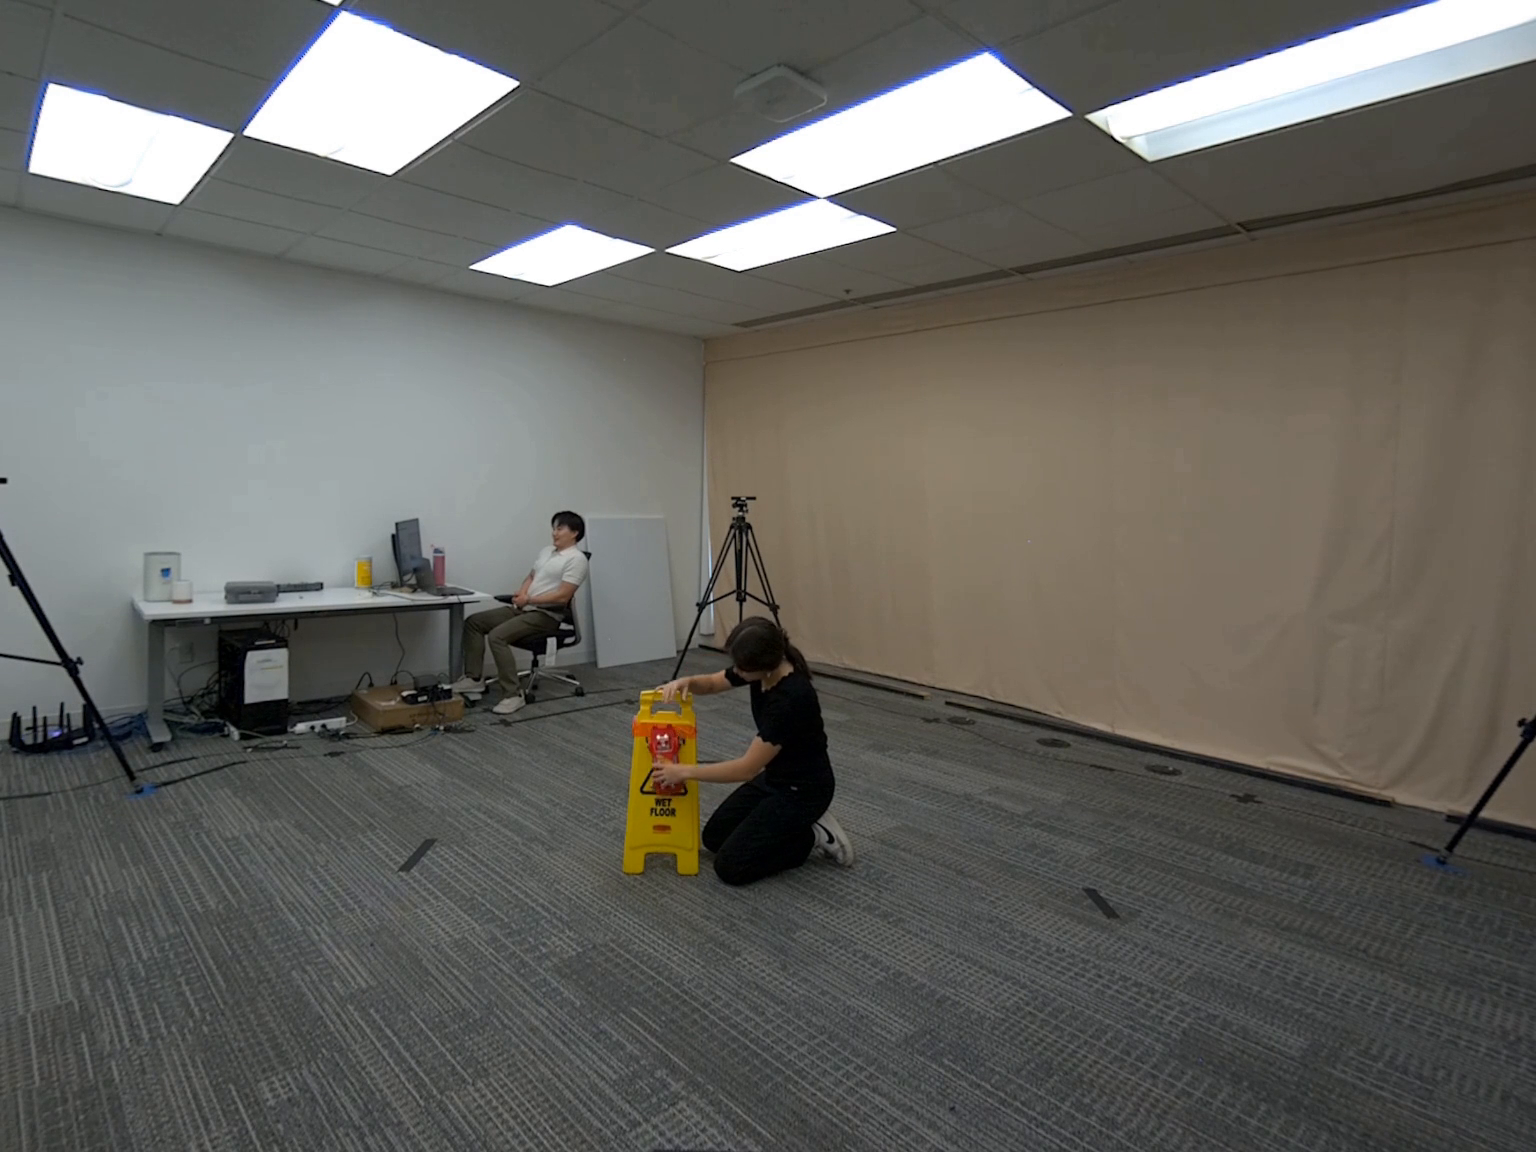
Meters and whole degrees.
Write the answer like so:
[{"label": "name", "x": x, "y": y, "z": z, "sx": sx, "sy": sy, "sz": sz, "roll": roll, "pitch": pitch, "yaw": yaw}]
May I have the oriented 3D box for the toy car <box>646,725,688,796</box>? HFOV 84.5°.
[{"label": "toy car", "x": -0.388, "y": 0.672, "z": 3.116, "sx": 0.130, "sy": 0.253, "sz": 0.084, "roll": -4, "pitch": 9, "yaw": -1}]
